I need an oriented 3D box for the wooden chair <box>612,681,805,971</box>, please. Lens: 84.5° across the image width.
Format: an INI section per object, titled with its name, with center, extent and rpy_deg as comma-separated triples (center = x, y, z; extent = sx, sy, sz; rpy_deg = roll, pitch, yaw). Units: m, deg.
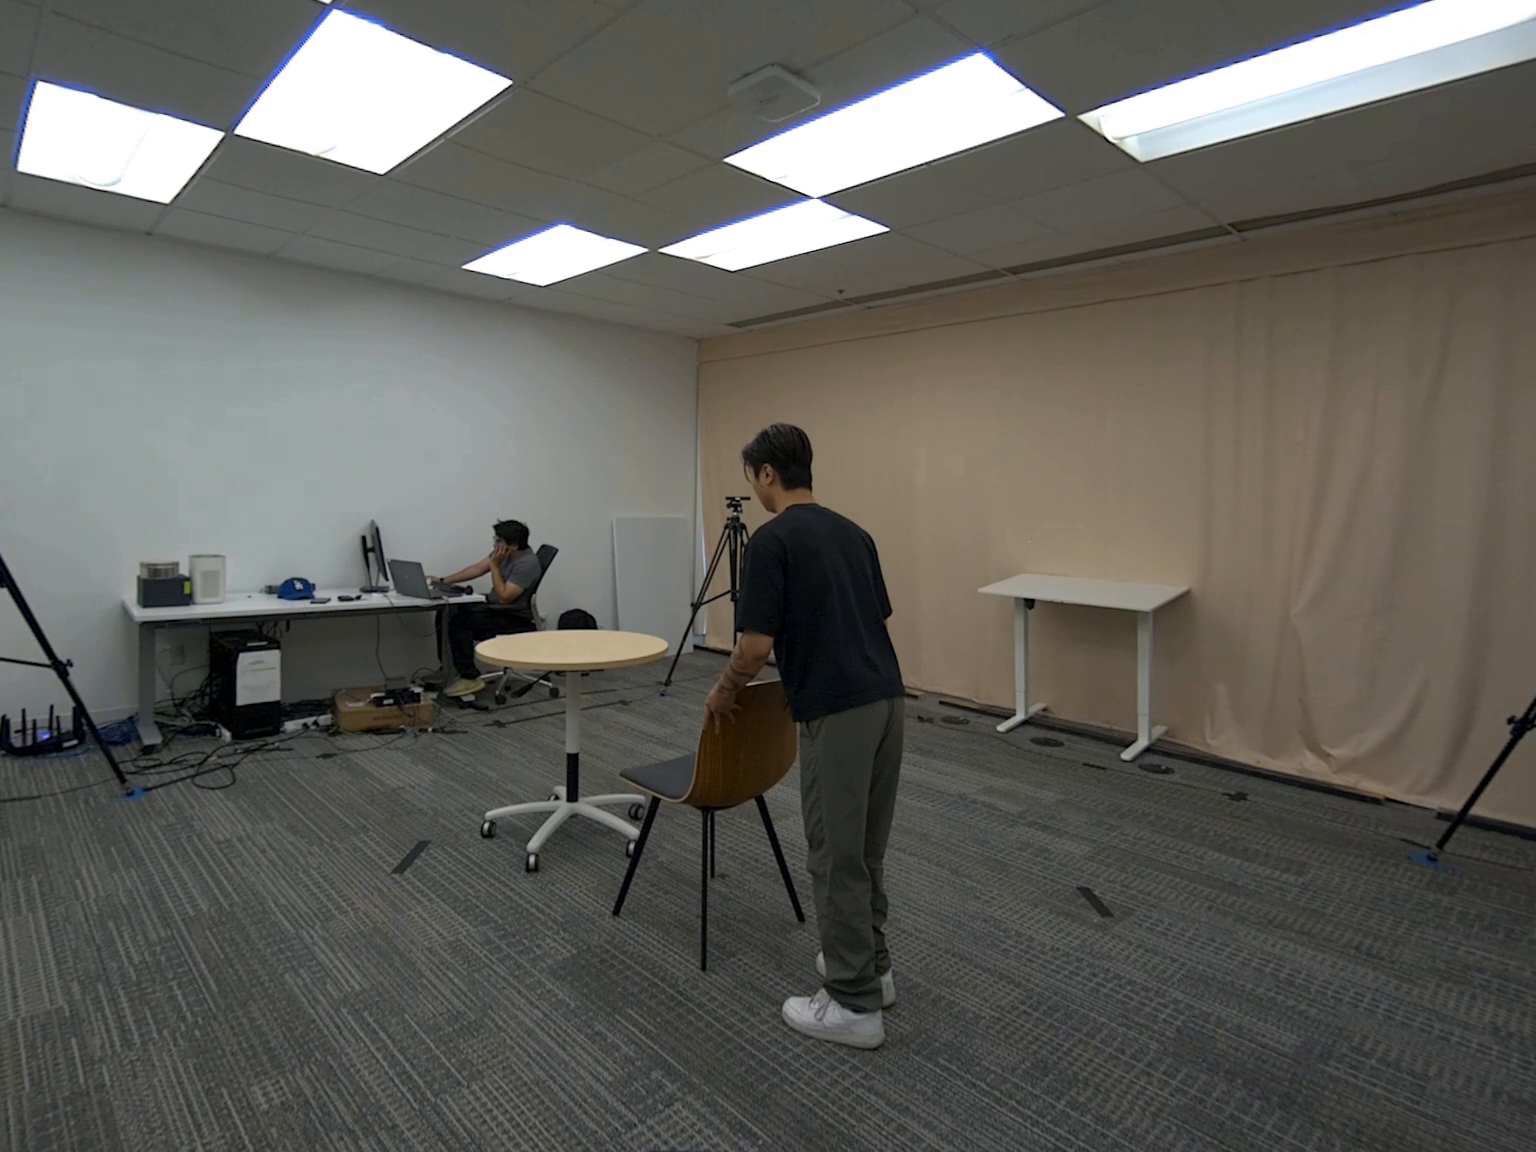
[wooden chair]
center = -0.199, 0.709, 2.759
extent = 0.467, 0.873, 0.537
rpy_deg = -3, 9, -45
